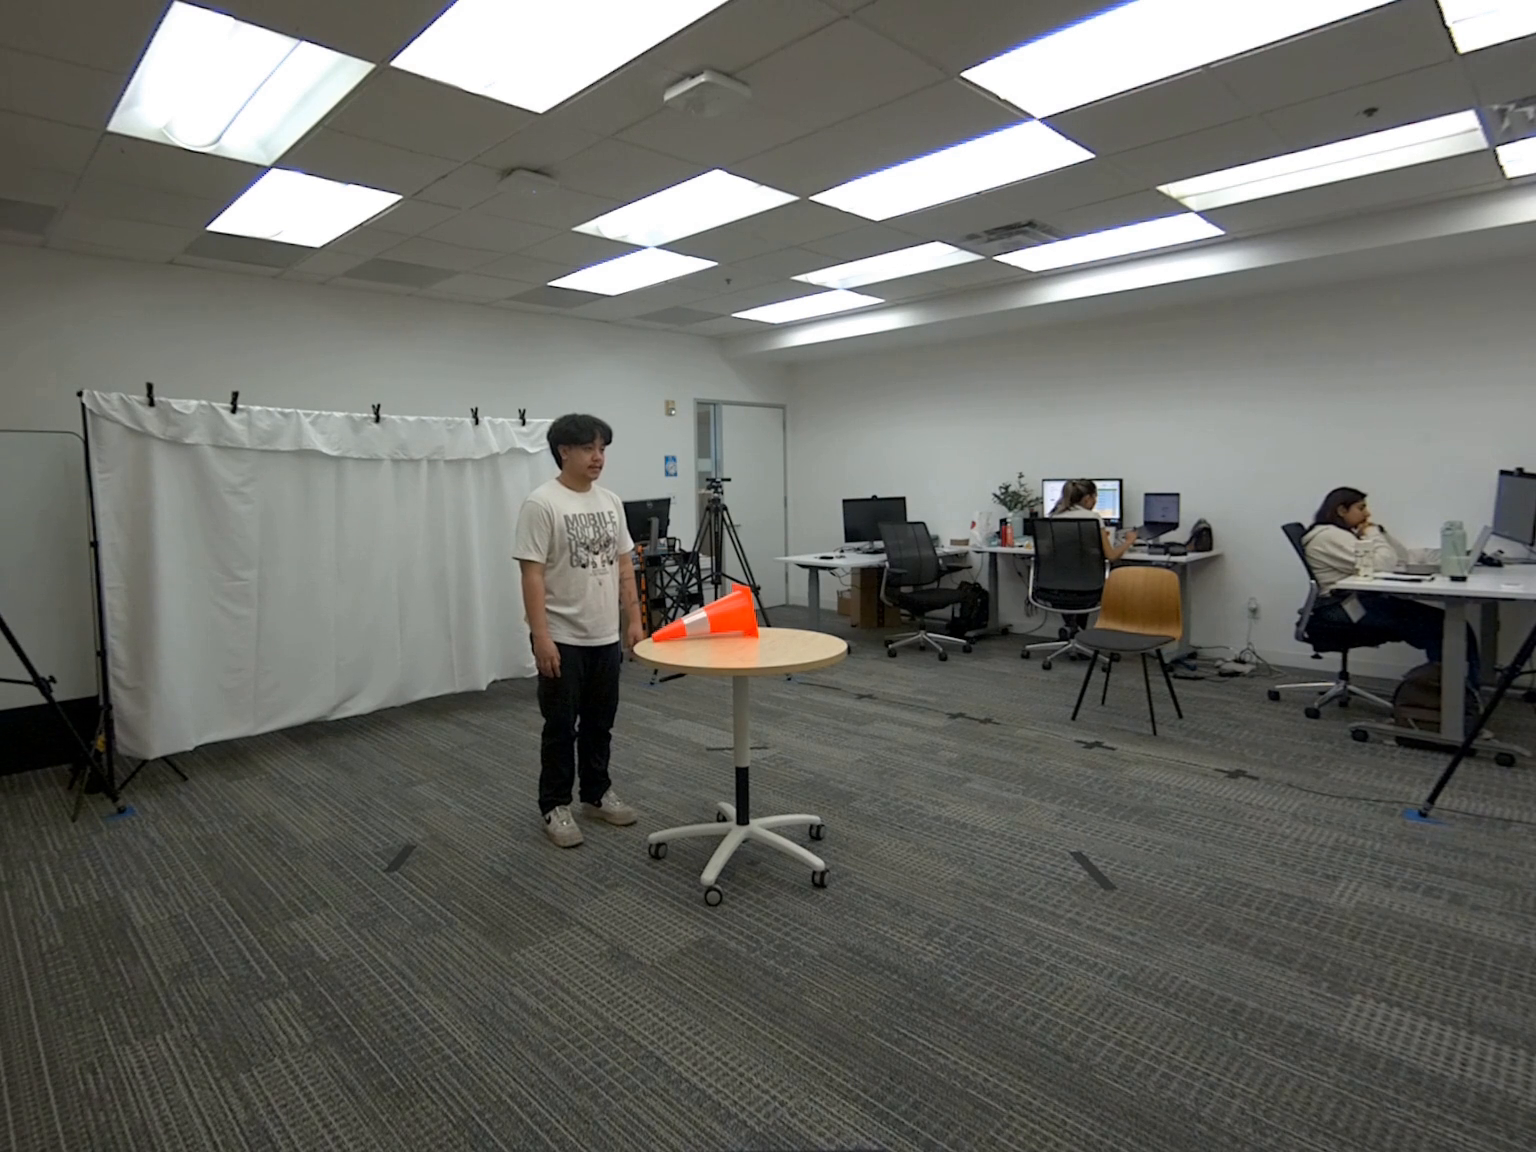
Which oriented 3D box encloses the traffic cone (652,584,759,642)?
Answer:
[{"bbox_3d":[-0.262,0.182,3.223,0.379,0.200,0.210,-17,14,-19],"label":"traffic cone"}]
